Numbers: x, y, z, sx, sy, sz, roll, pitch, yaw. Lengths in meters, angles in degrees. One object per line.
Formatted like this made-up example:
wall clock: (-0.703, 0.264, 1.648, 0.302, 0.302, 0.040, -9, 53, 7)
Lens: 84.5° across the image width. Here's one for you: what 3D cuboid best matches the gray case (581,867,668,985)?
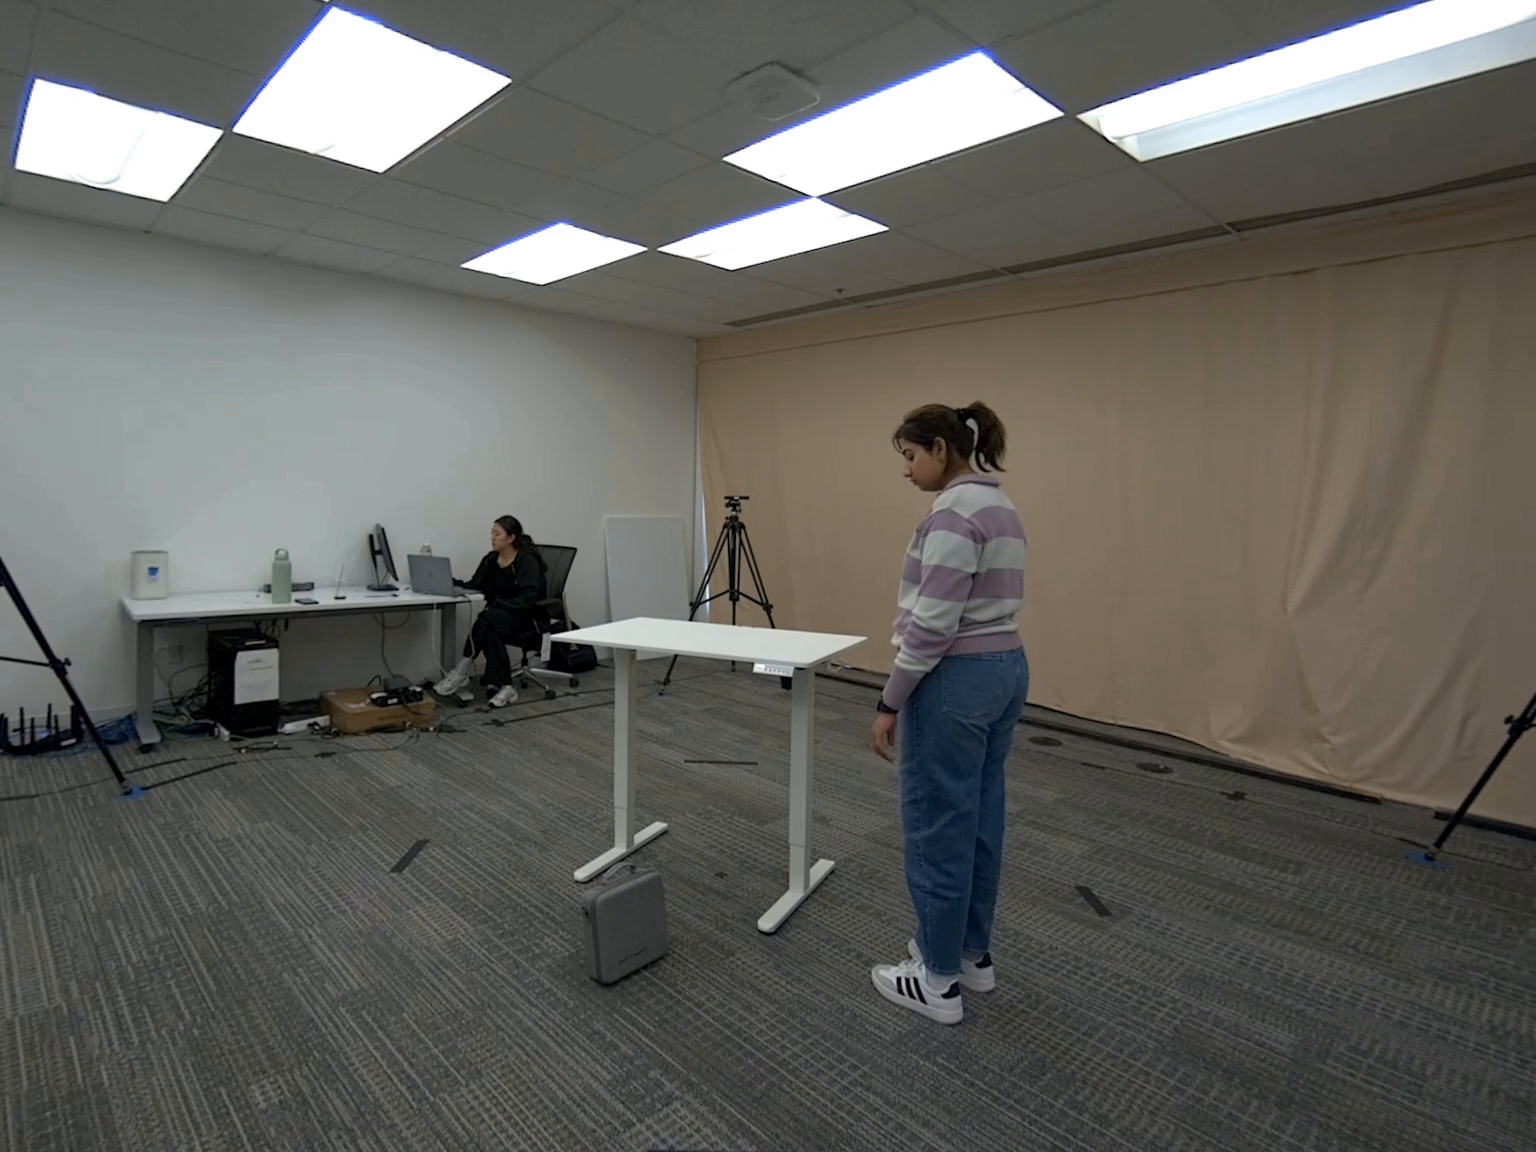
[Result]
gray case: (-0.430, 1.025, 2.479, 0.106, 0.261, 0.251, -9, -3, 43)
